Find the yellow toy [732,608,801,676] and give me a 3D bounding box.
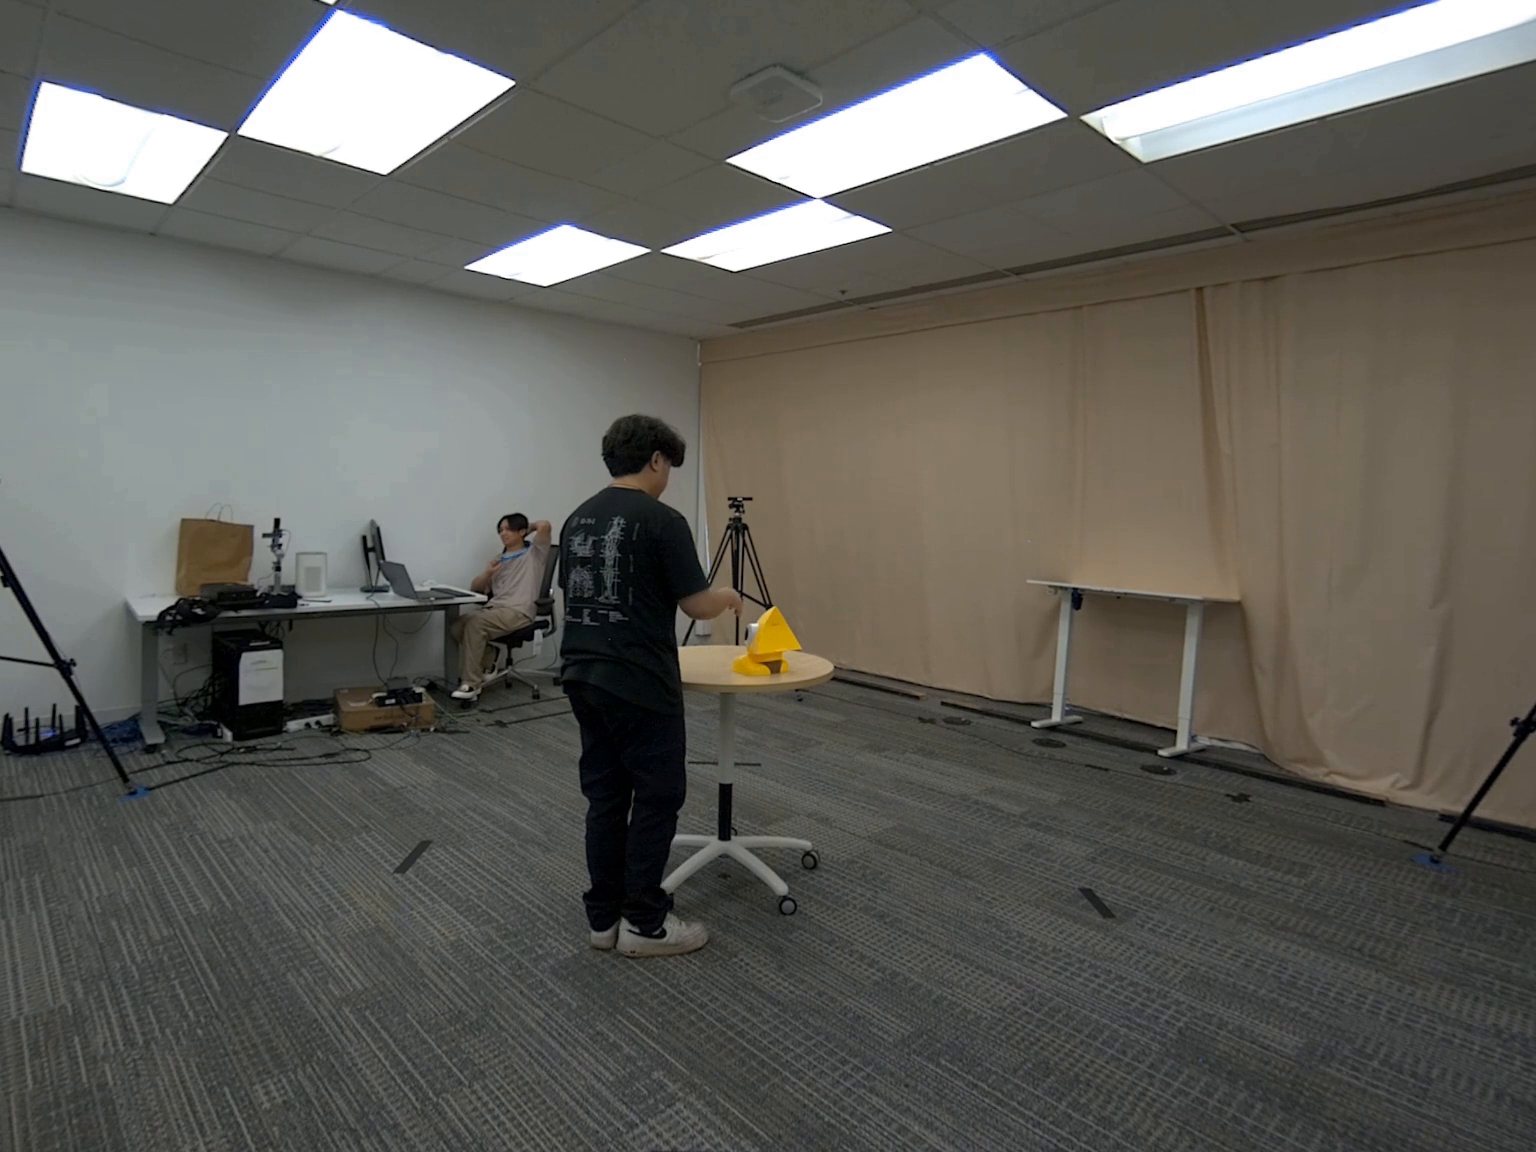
[{"bbox_3d":[-0.025,0.216,2.933,0.200,0.230,0.198,-2,5,-41],"label":"yellow toy"}]
